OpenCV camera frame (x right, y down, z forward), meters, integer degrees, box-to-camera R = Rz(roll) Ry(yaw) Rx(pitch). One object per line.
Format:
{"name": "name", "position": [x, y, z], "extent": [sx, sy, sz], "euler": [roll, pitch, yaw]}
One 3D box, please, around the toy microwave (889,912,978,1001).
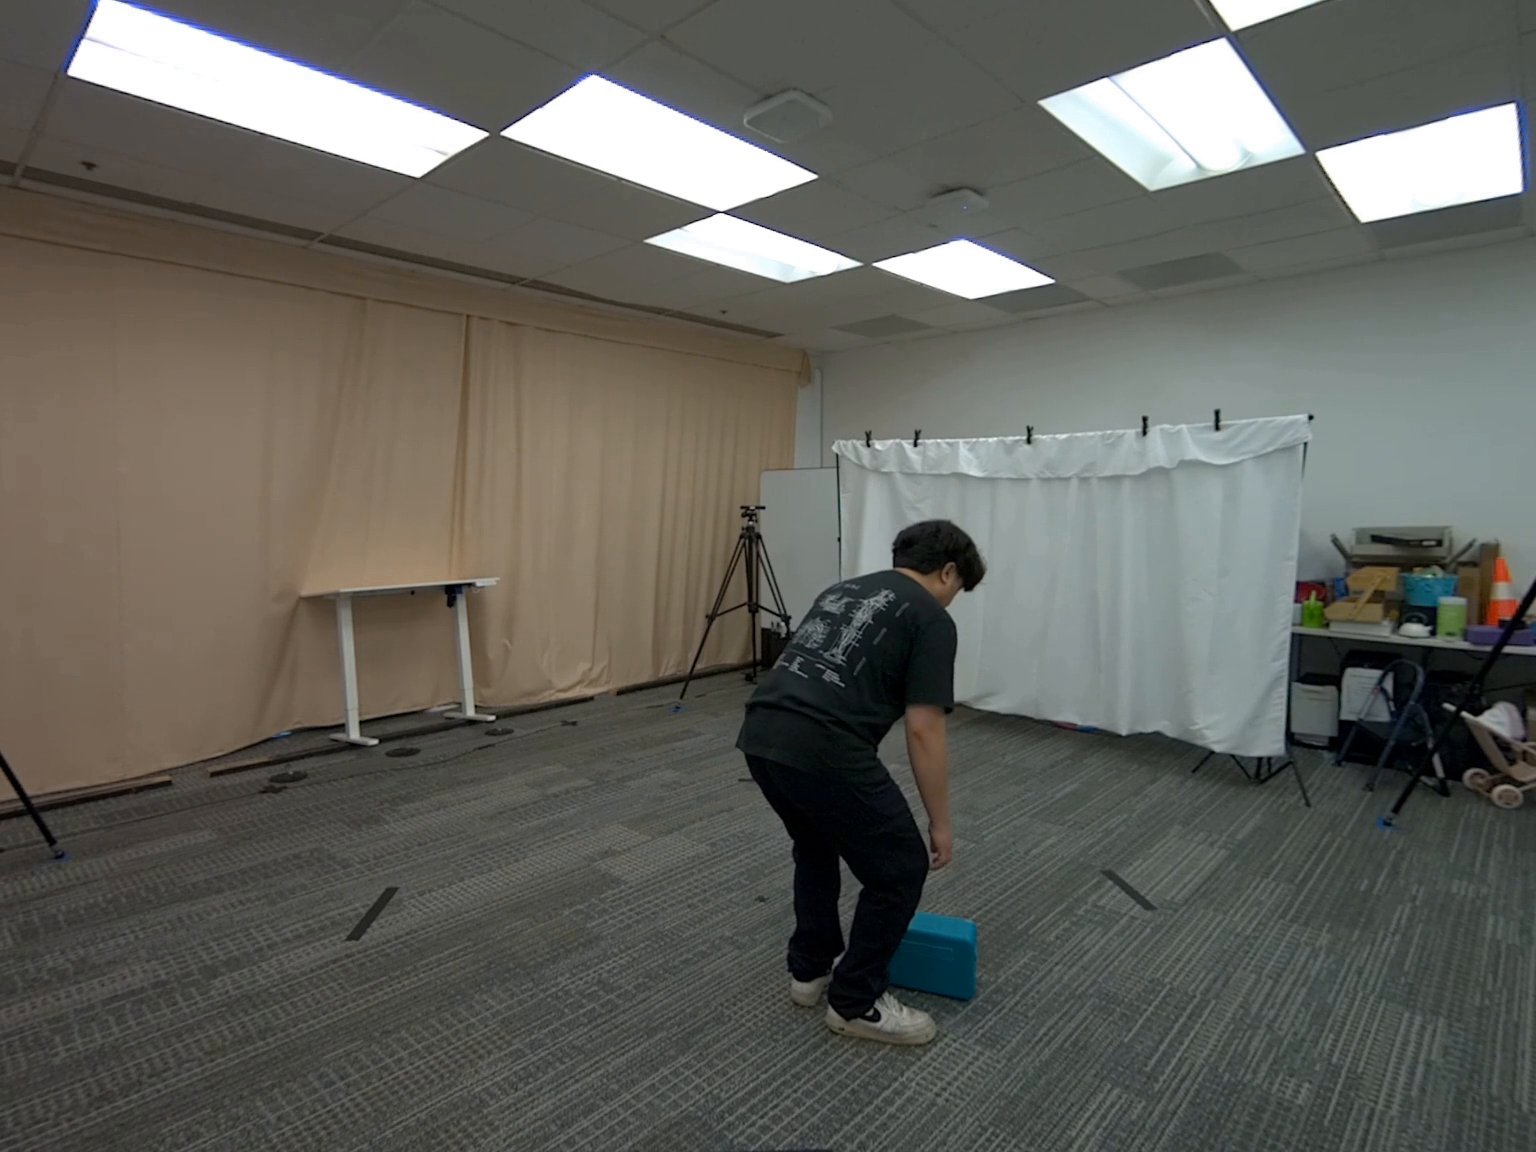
{"name": "toy microwave", "position": [0.468, 1.097, 2.459], "extent": [0.292, 0.183, 0.149], "euler": [2, 5, 21]}
